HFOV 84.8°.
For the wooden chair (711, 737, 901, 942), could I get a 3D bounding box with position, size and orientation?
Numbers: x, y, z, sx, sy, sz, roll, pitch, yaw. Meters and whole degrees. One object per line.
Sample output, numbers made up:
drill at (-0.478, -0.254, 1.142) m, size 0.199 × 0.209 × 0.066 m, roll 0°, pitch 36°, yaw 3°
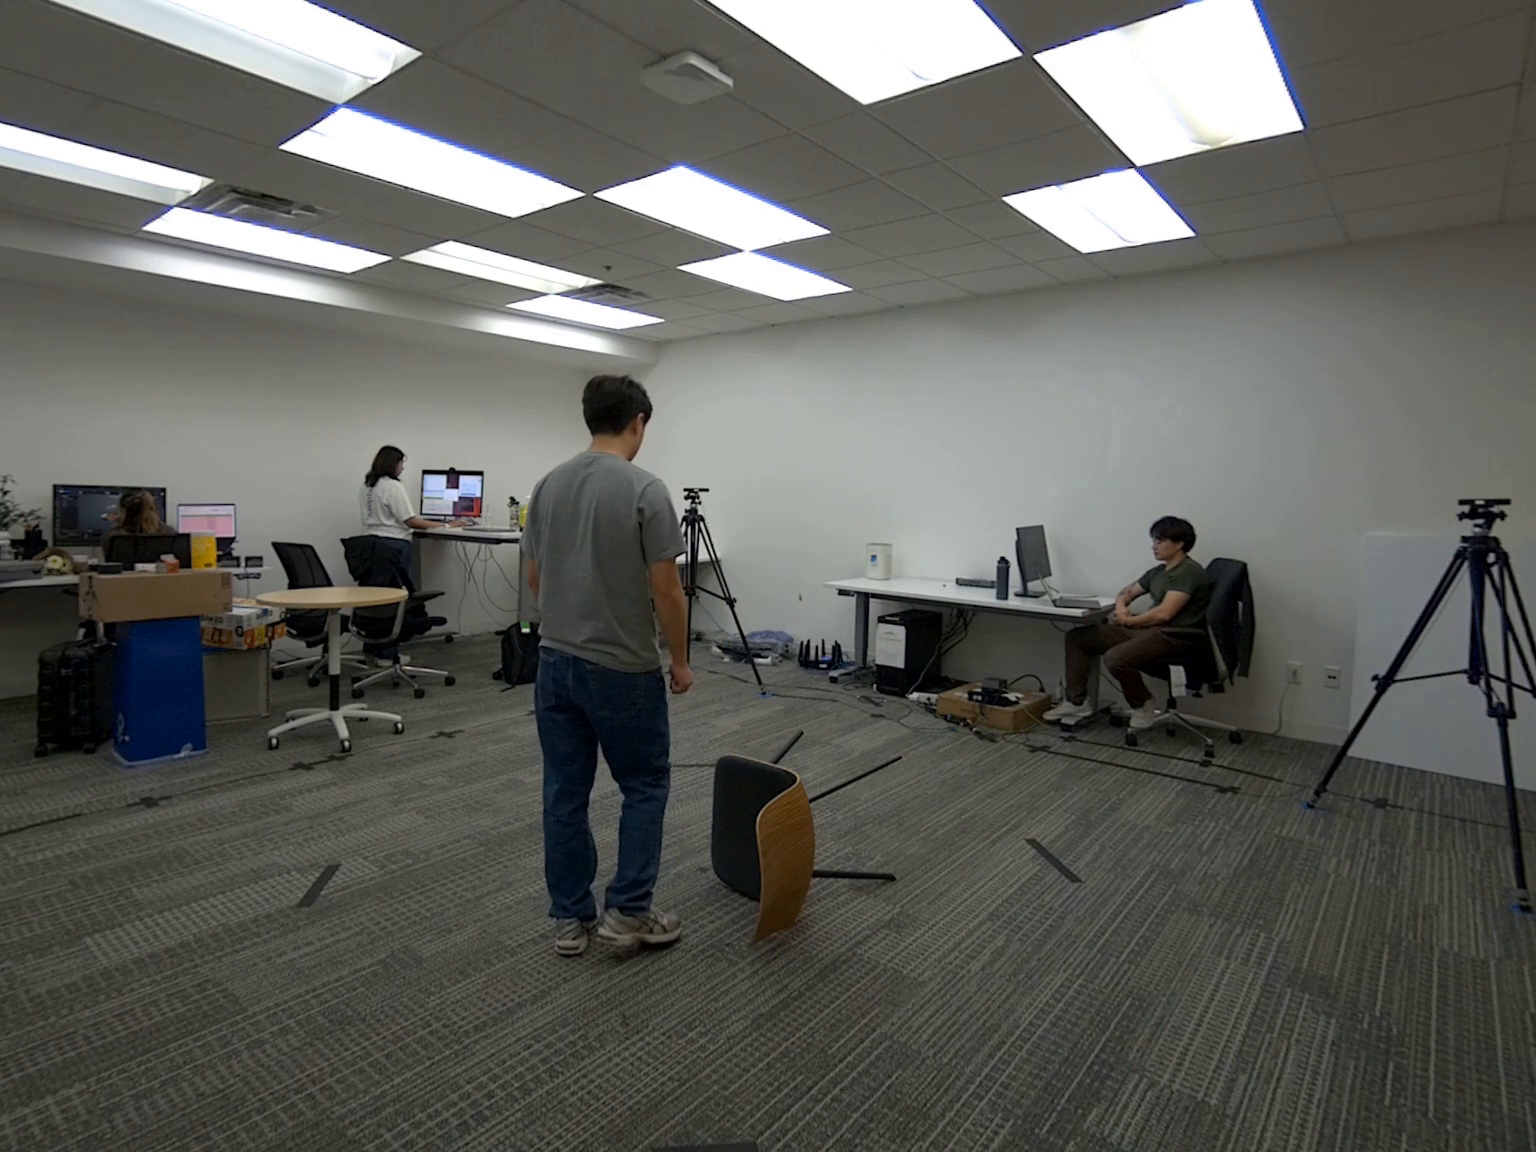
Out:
wooden chair at (0.006, 0.862, 2.895) m, size 0.540 × 0.476 × 0.852 m, roll 5°, pitch 5°, yaw 36°
